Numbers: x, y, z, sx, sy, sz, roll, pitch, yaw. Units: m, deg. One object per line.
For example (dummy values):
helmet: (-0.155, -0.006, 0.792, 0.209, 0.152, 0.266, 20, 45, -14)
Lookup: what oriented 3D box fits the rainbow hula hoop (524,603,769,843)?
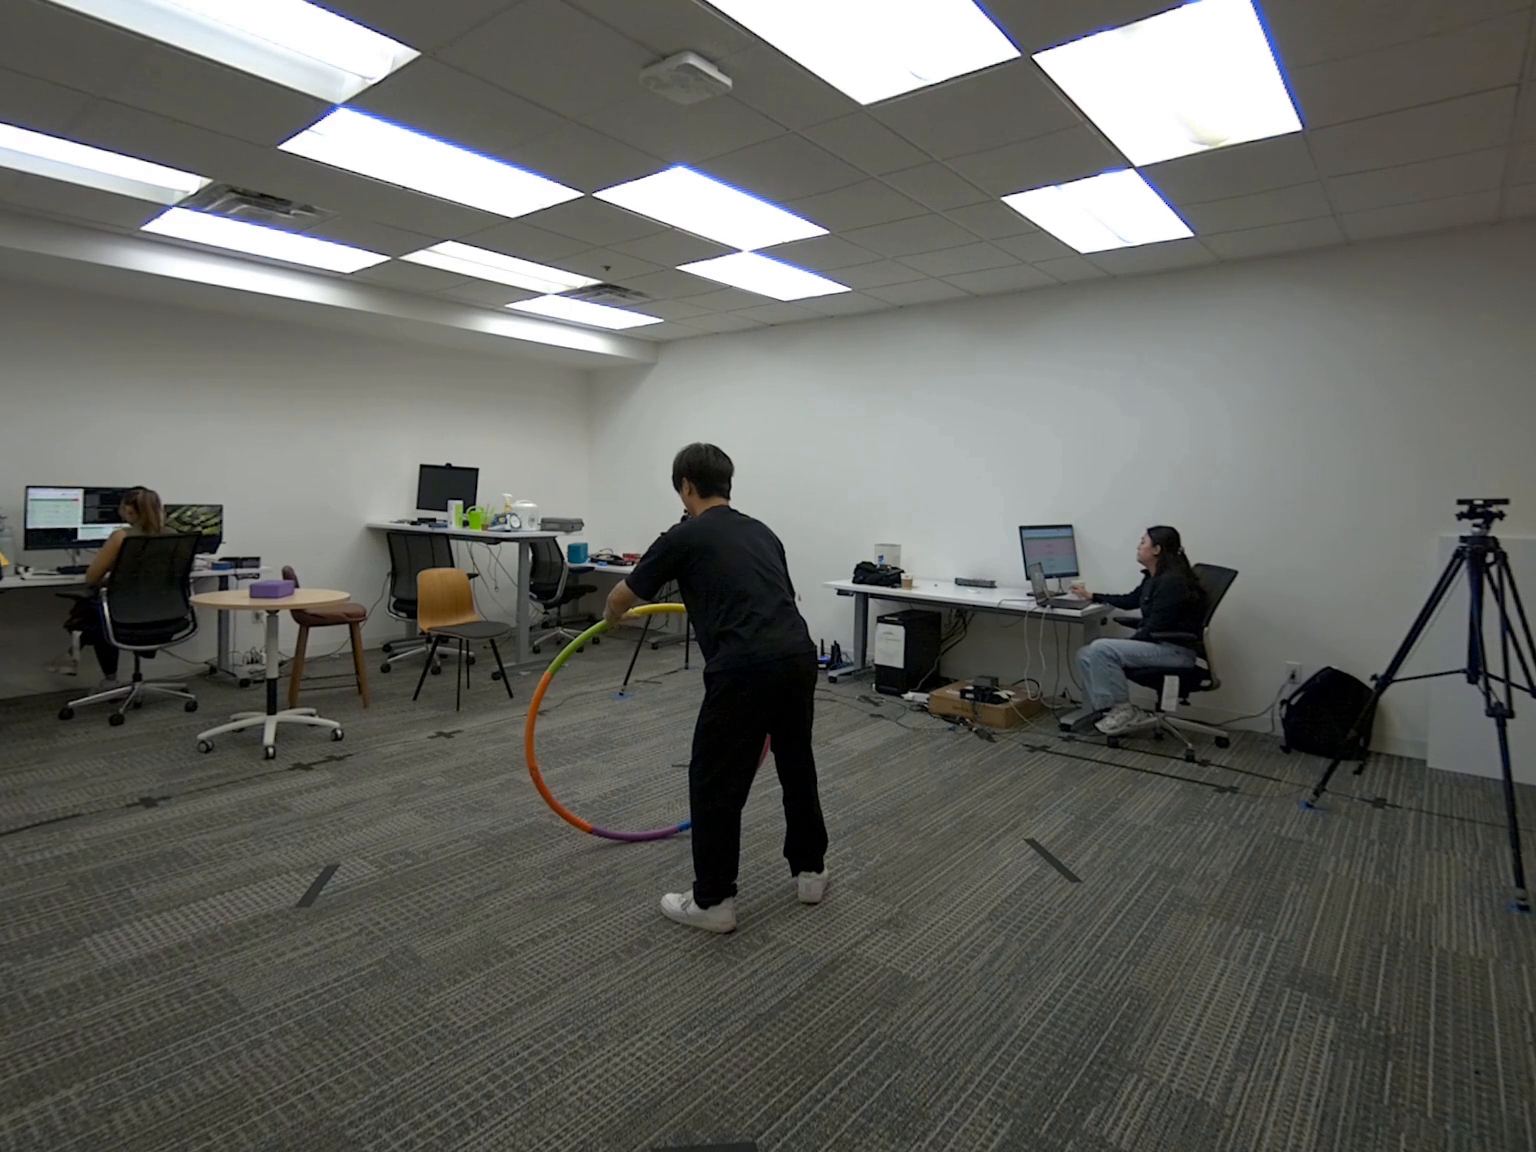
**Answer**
rainbow hula hoop: (-0.450, 0.576, 3.273, 0.958, 0.968, 0.037, 0, 13, -21)
